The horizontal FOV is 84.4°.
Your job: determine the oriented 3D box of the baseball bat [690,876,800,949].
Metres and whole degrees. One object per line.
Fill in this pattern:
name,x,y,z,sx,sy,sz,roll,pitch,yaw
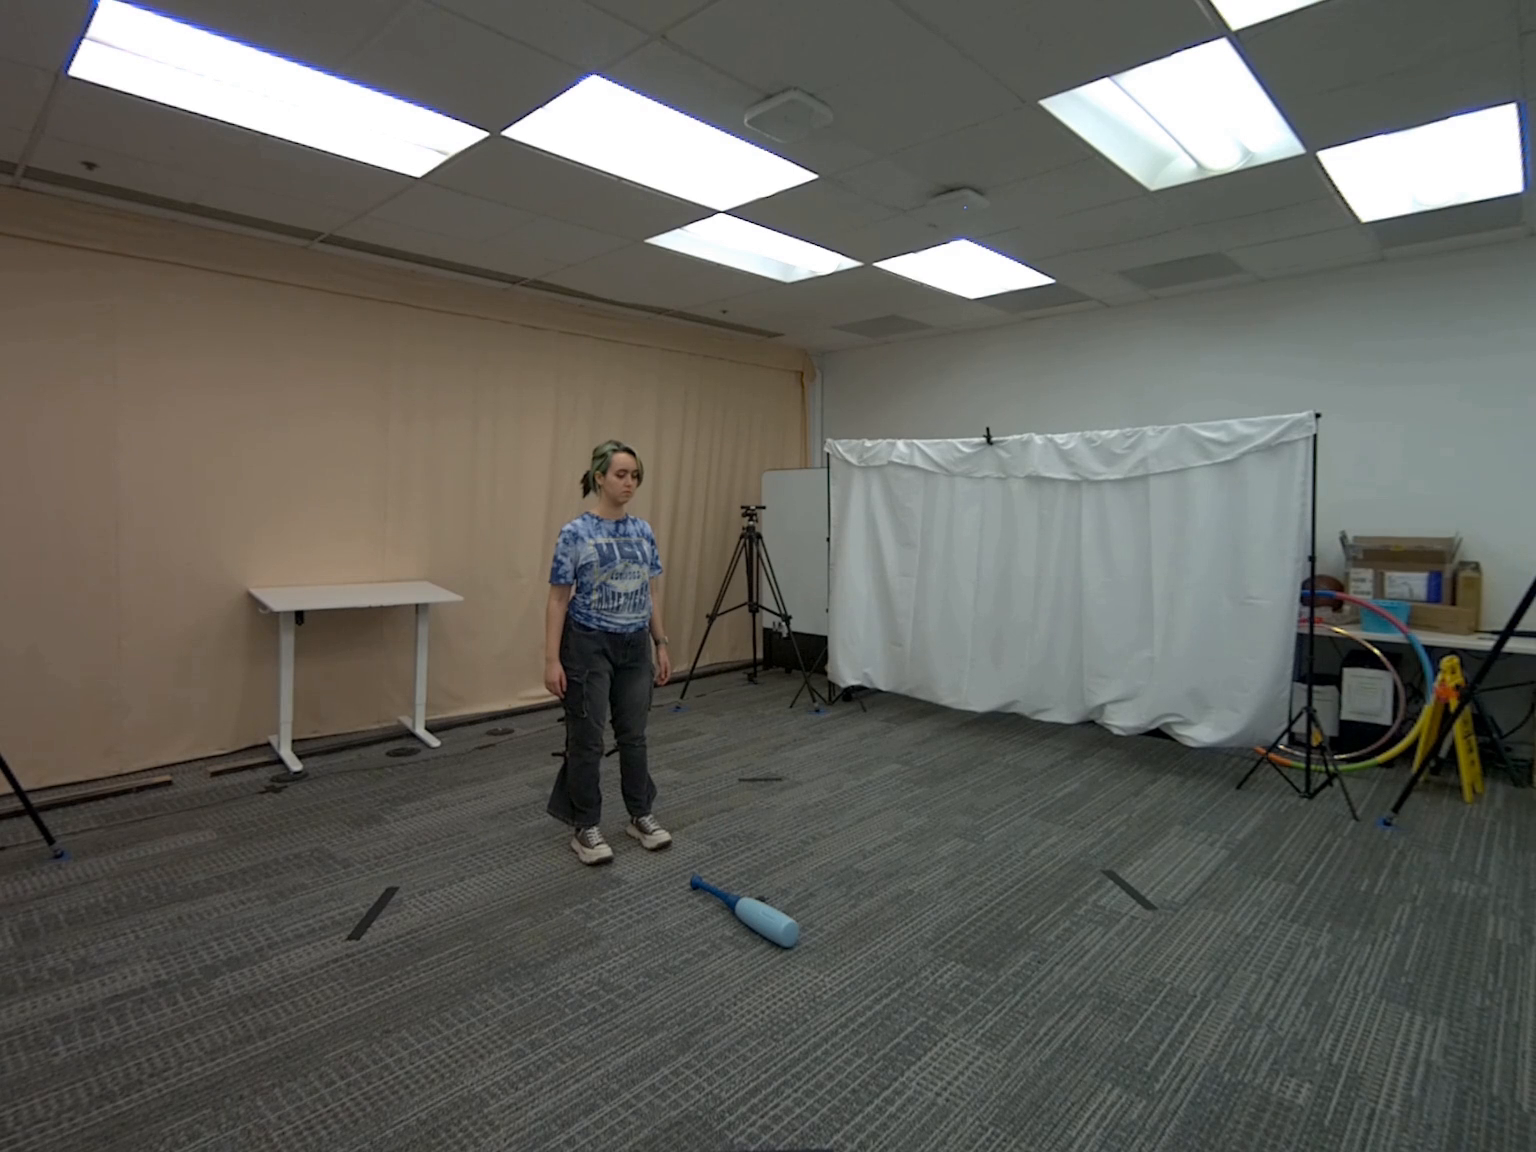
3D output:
baseball bat,-0.096,1.121,2.852,0.086,0.089,0.560,-3,2,-37
